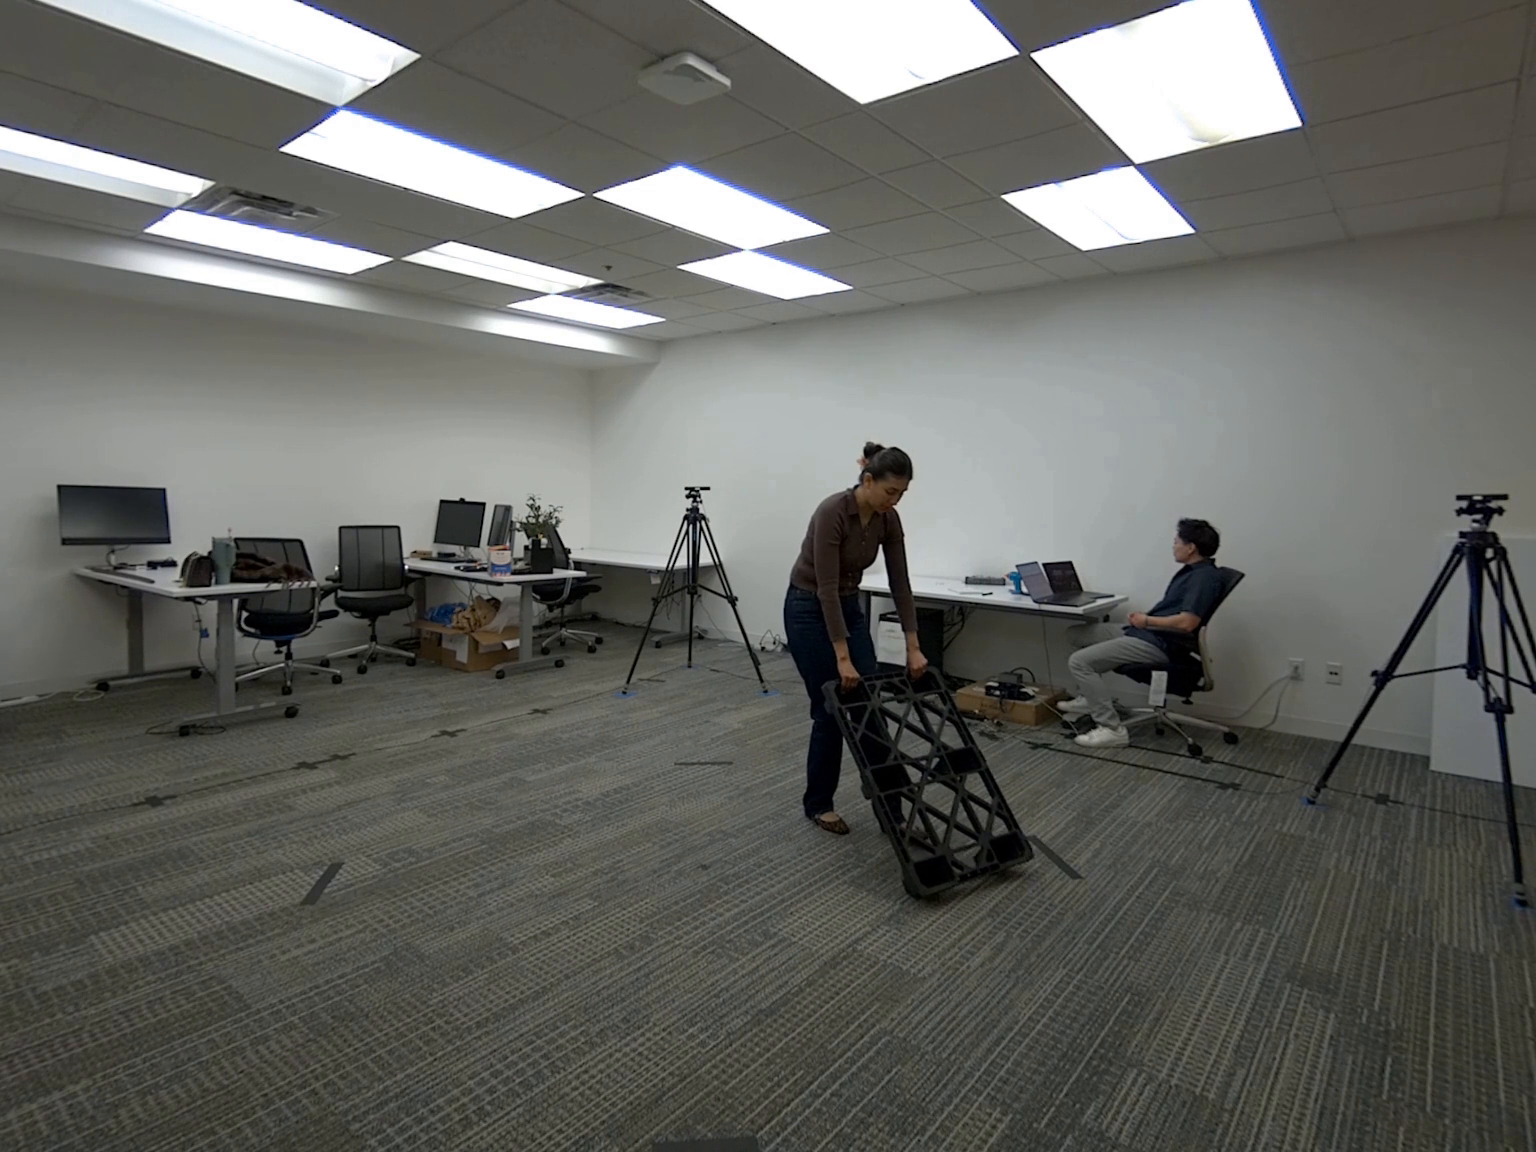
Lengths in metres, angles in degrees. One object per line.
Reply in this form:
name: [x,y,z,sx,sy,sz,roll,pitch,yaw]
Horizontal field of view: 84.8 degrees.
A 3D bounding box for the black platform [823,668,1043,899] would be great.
black platform: [0.571,0.741,3.203,0.587,0.832,0.143,-1,-36,-35]
